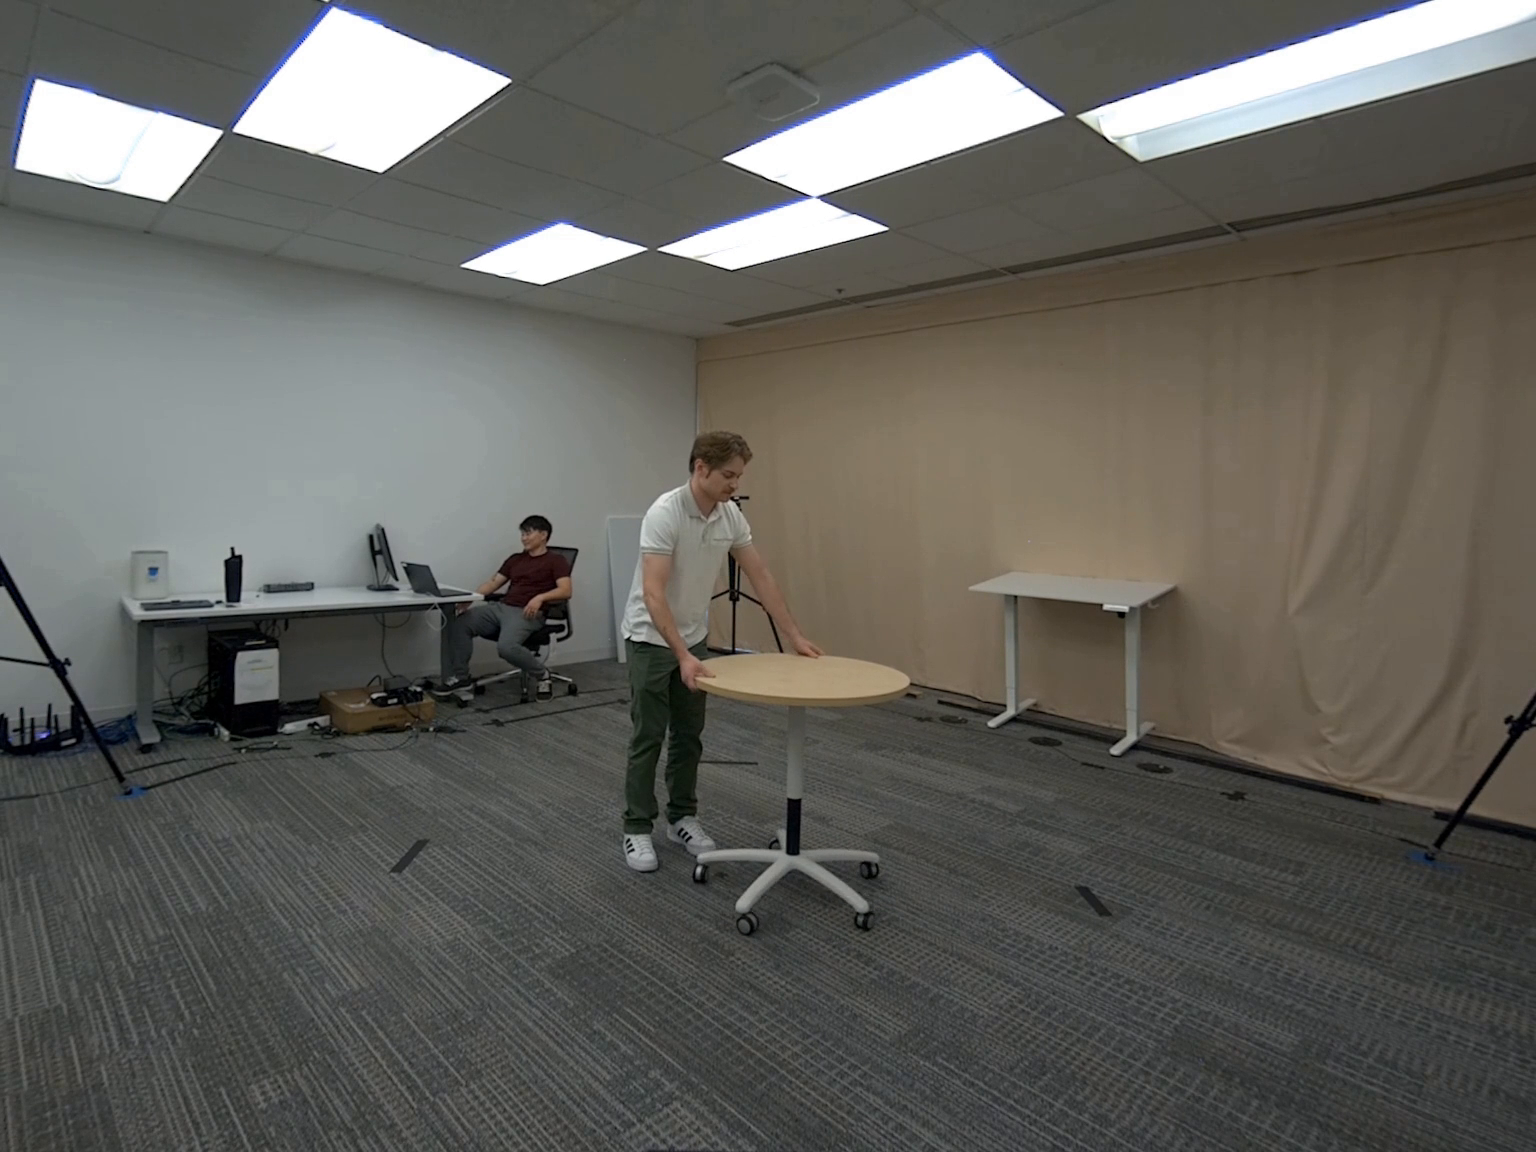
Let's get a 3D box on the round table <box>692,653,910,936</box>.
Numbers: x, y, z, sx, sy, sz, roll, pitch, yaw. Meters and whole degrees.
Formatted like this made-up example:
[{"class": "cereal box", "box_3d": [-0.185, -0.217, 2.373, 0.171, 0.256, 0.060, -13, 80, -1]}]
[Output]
[{"class": "round table", "box_3d": [0.087, 0.735, 2.952, 0.763, 0.792, 0.766, 2, 4, -1]}]
